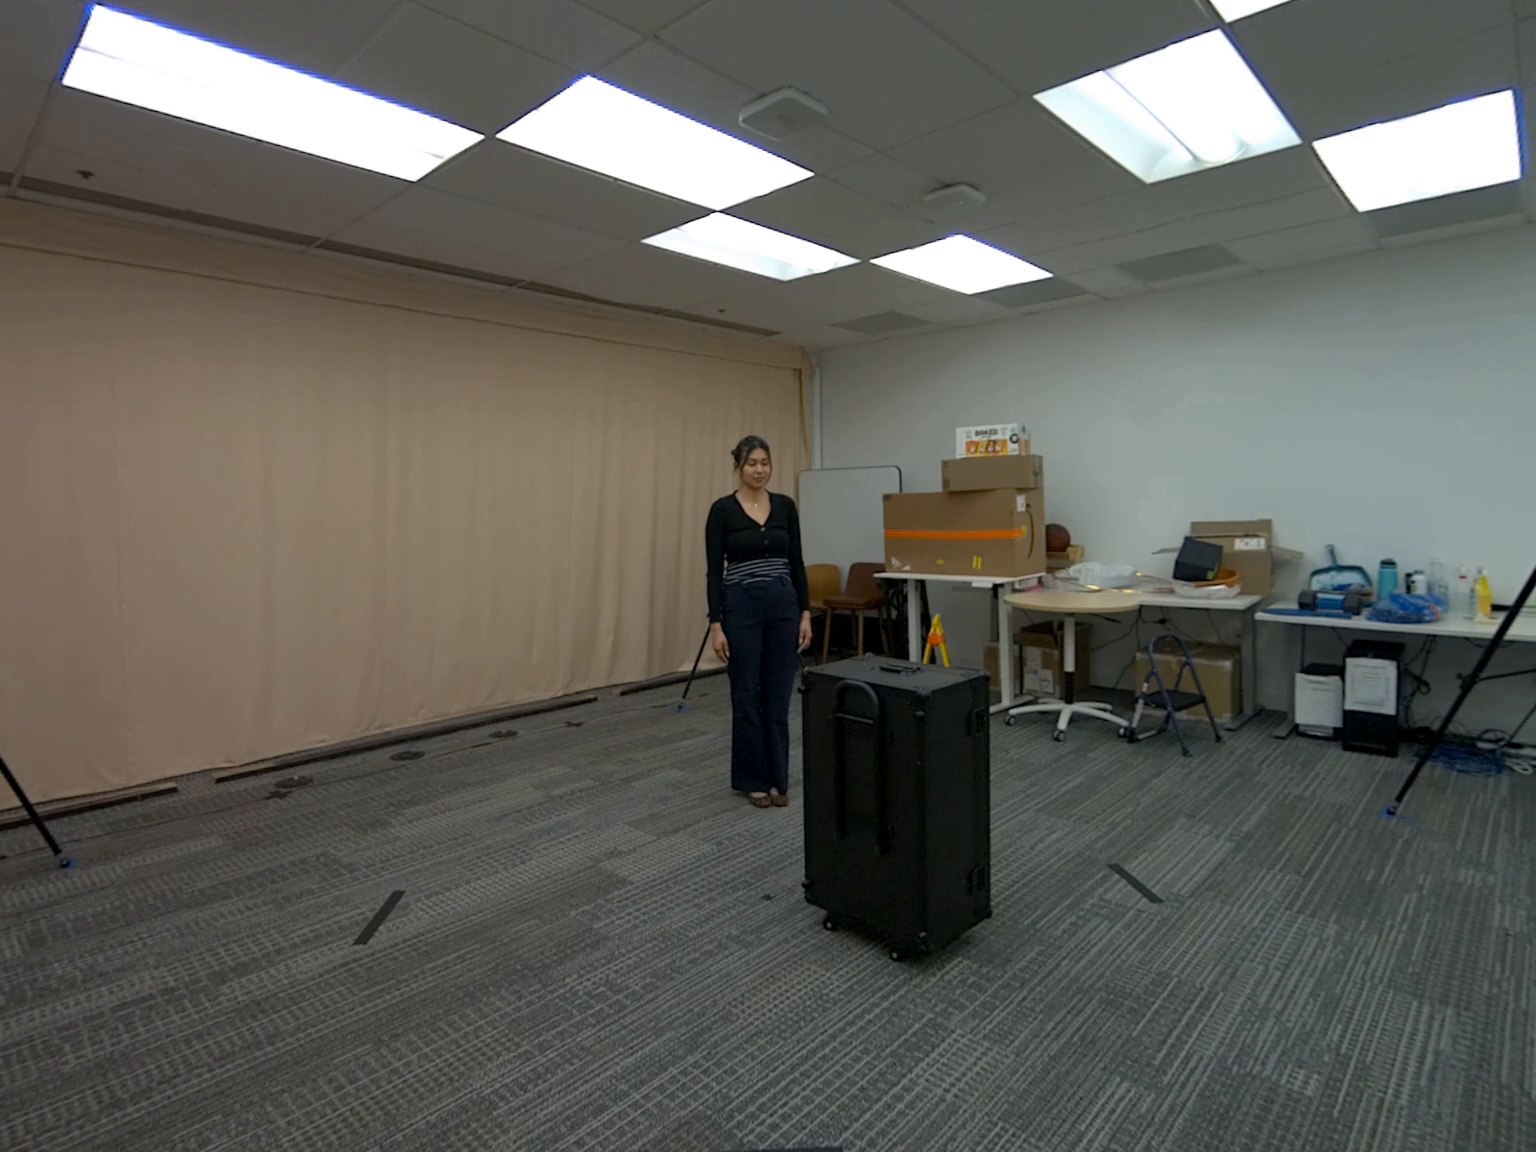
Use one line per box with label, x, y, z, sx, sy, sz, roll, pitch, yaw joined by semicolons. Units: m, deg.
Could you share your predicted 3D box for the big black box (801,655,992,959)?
big black box;0.413;0.732;2.706;0.384;0.859;0.538;-5;5;-43
